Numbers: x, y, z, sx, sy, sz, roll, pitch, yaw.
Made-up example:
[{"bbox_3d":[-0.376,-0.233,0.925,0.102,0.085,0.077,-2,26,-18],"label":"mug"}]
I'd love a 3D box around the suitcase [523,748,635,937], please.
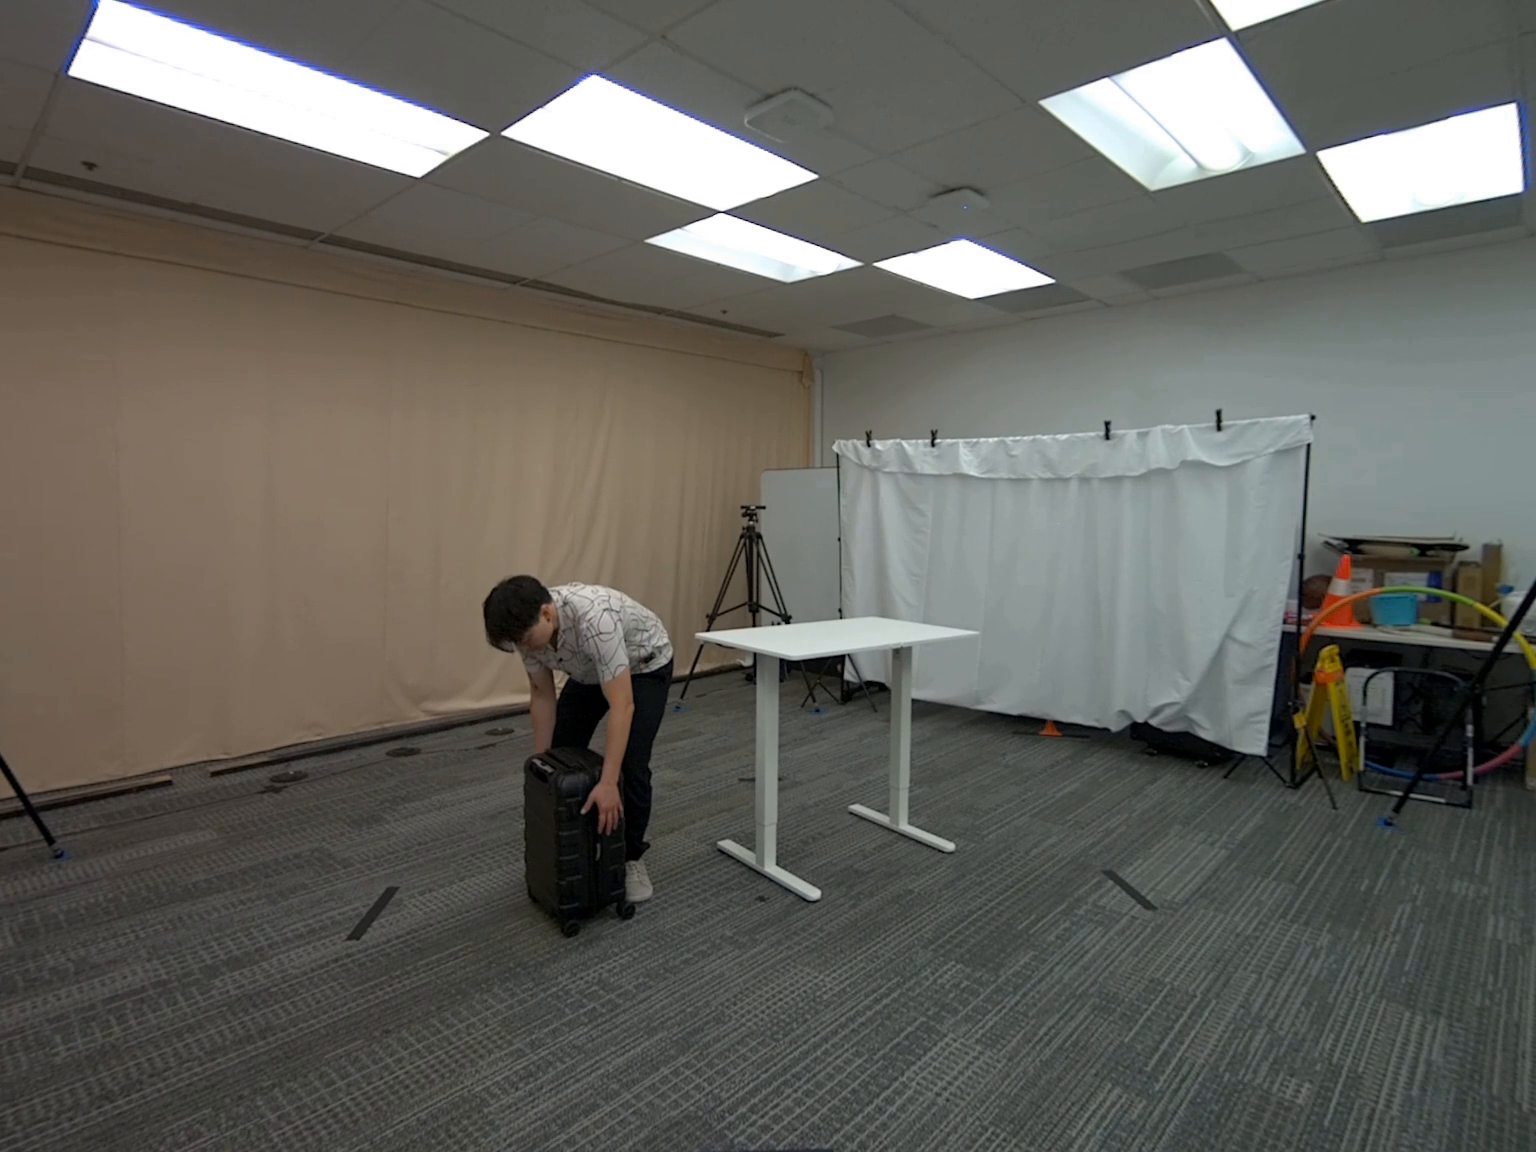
[{"bbox_3d":[-0.666,0.880,2.895,0.241,0.548,0.387,-2,5,-36],"label":"suitcase"}]
